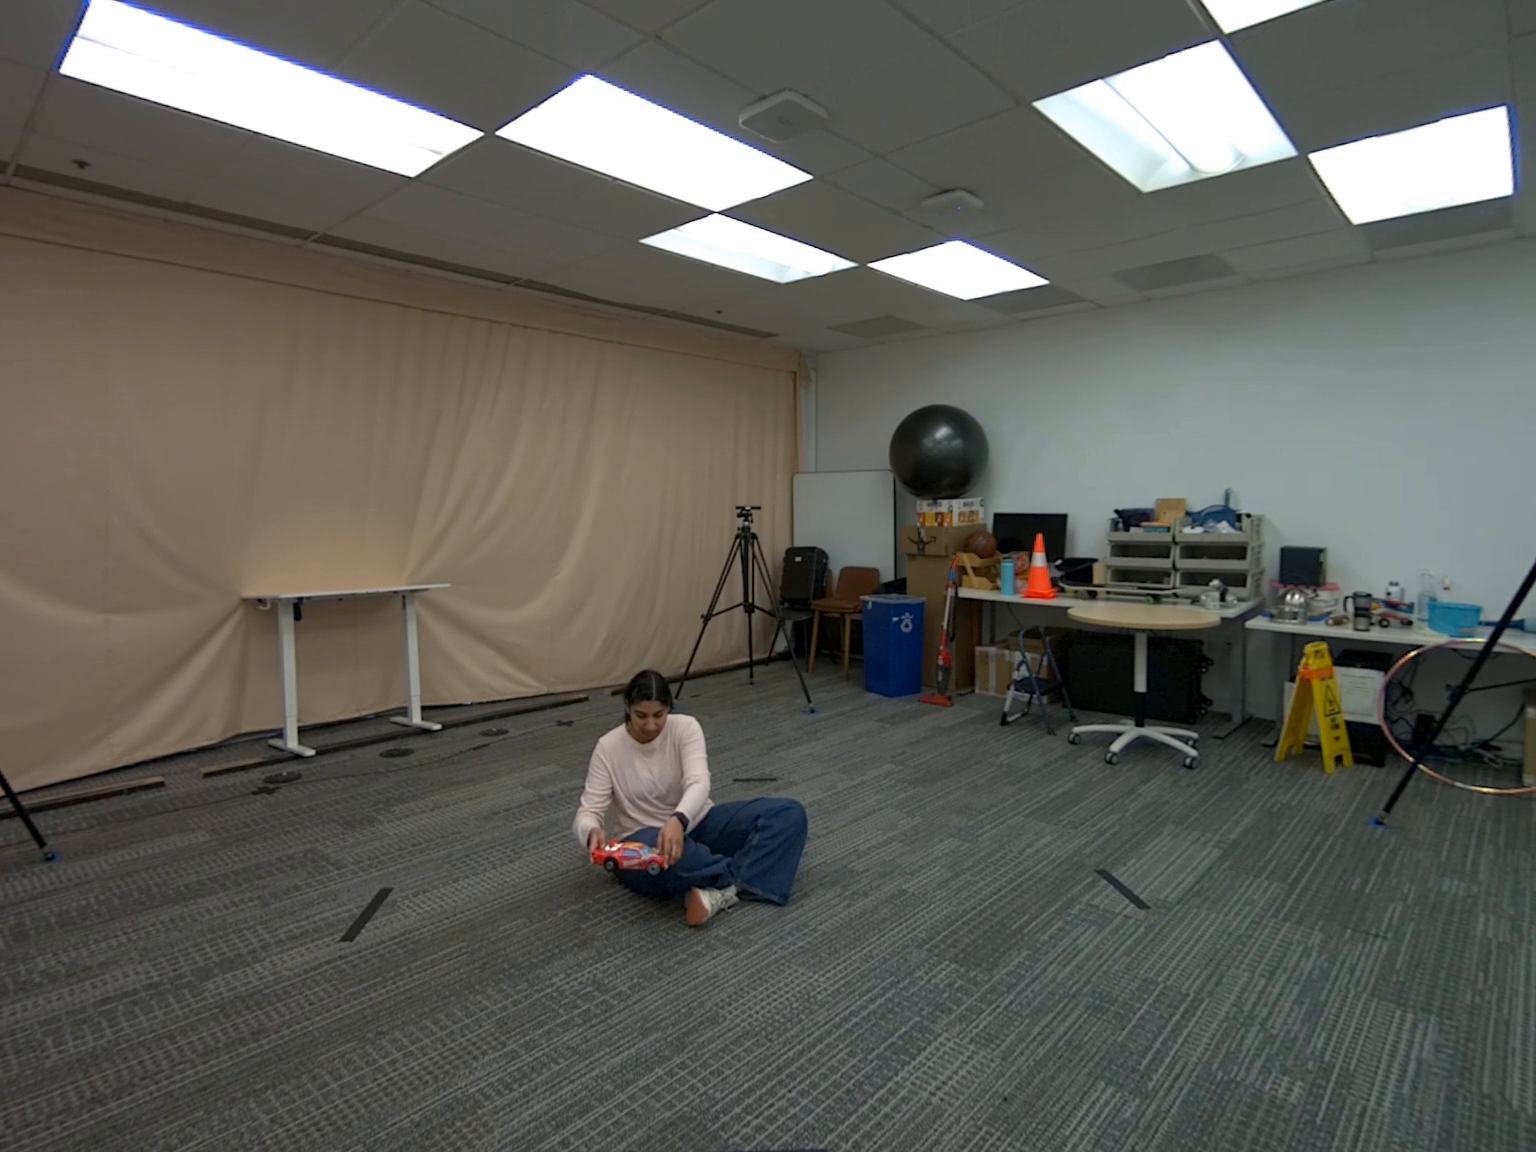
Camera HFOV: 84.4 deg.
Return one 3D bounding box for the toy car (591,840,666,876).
[{"bbox_3d":[-0.438,0.906,2.717,0.258,0.083,0.128,10,1,11],"label":"toy car"}]
